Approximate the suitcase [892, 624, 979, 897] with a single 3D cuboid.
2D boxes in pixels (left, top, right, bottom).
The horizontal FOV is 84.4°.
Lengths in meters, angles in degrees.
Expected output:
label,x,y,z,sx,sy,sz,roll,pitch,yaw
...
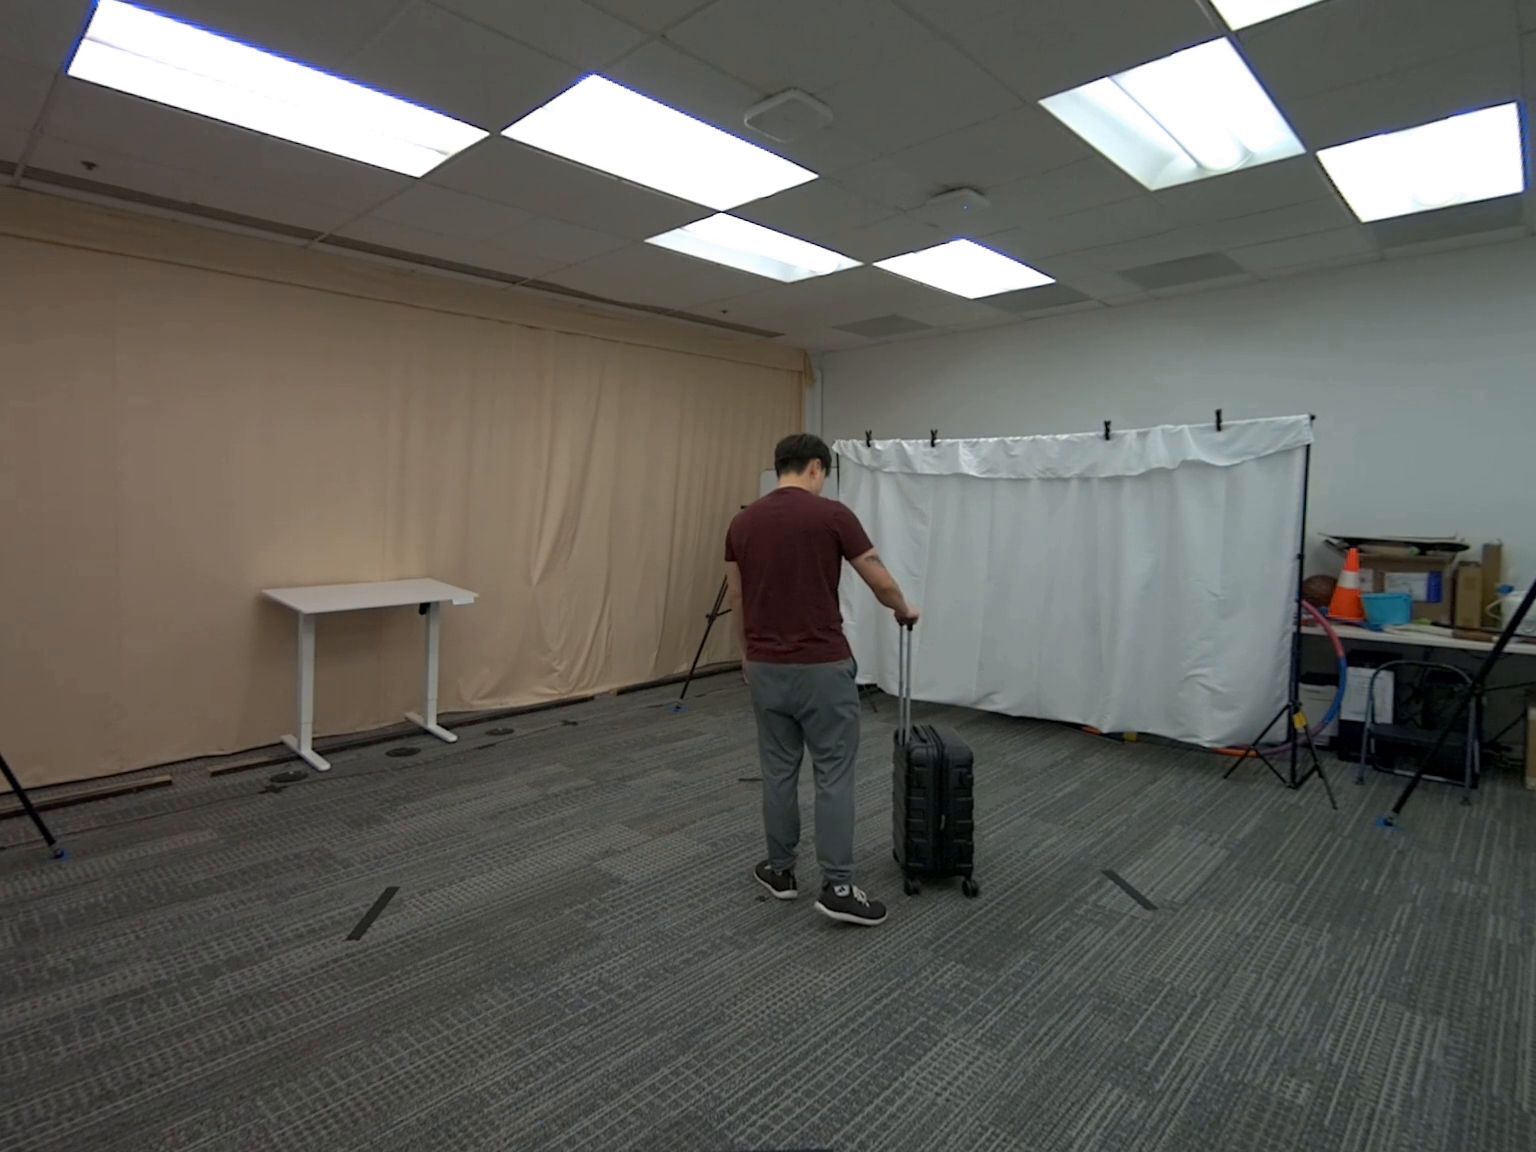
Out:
label,x,y,z,sx,sy,sz,roll,pitch,yaw
suitcase,0.627,0.652,3.157,0.258,0.978,0.383,1,2,1
